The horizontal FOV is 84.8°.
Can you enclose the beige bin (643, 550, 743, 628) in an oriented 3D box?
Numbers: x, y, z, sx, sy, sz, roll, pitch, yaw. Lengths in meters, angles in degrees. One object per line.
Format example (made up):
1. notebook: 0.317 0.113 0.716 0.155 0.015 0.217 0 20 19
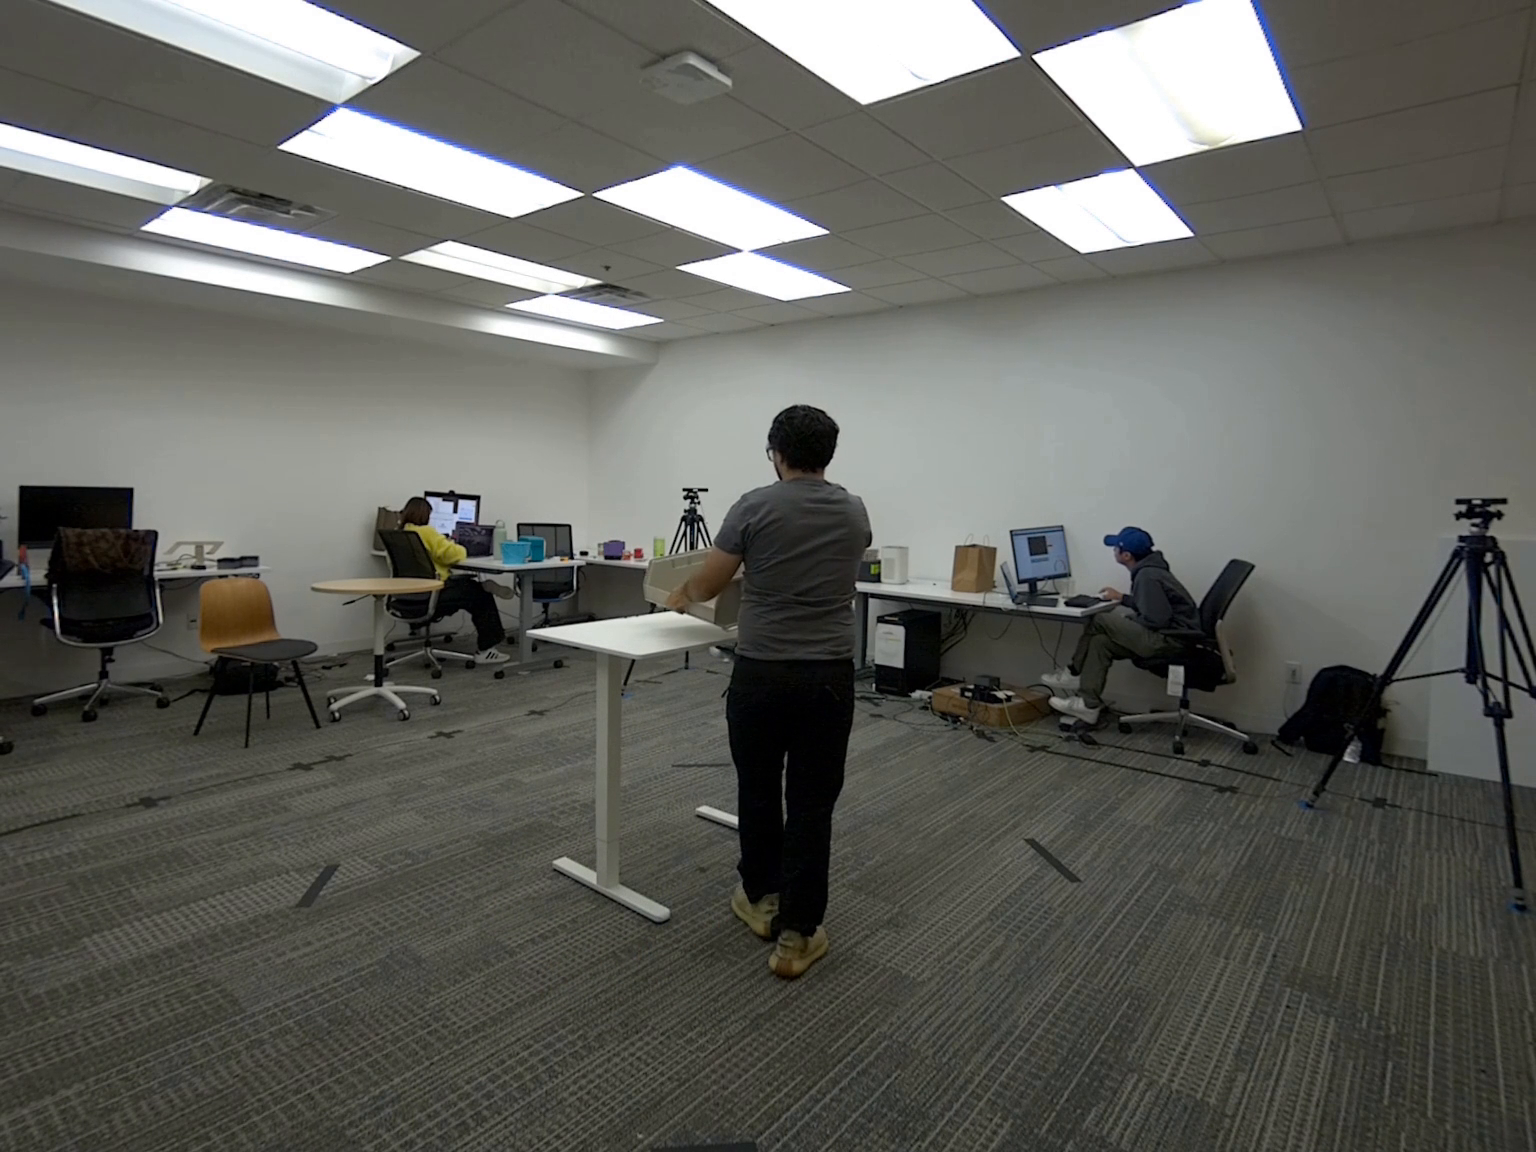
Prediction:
1. beige bin: -0.179 0.037 3.010 0.368 0.187 0.438 -12 16 -38
